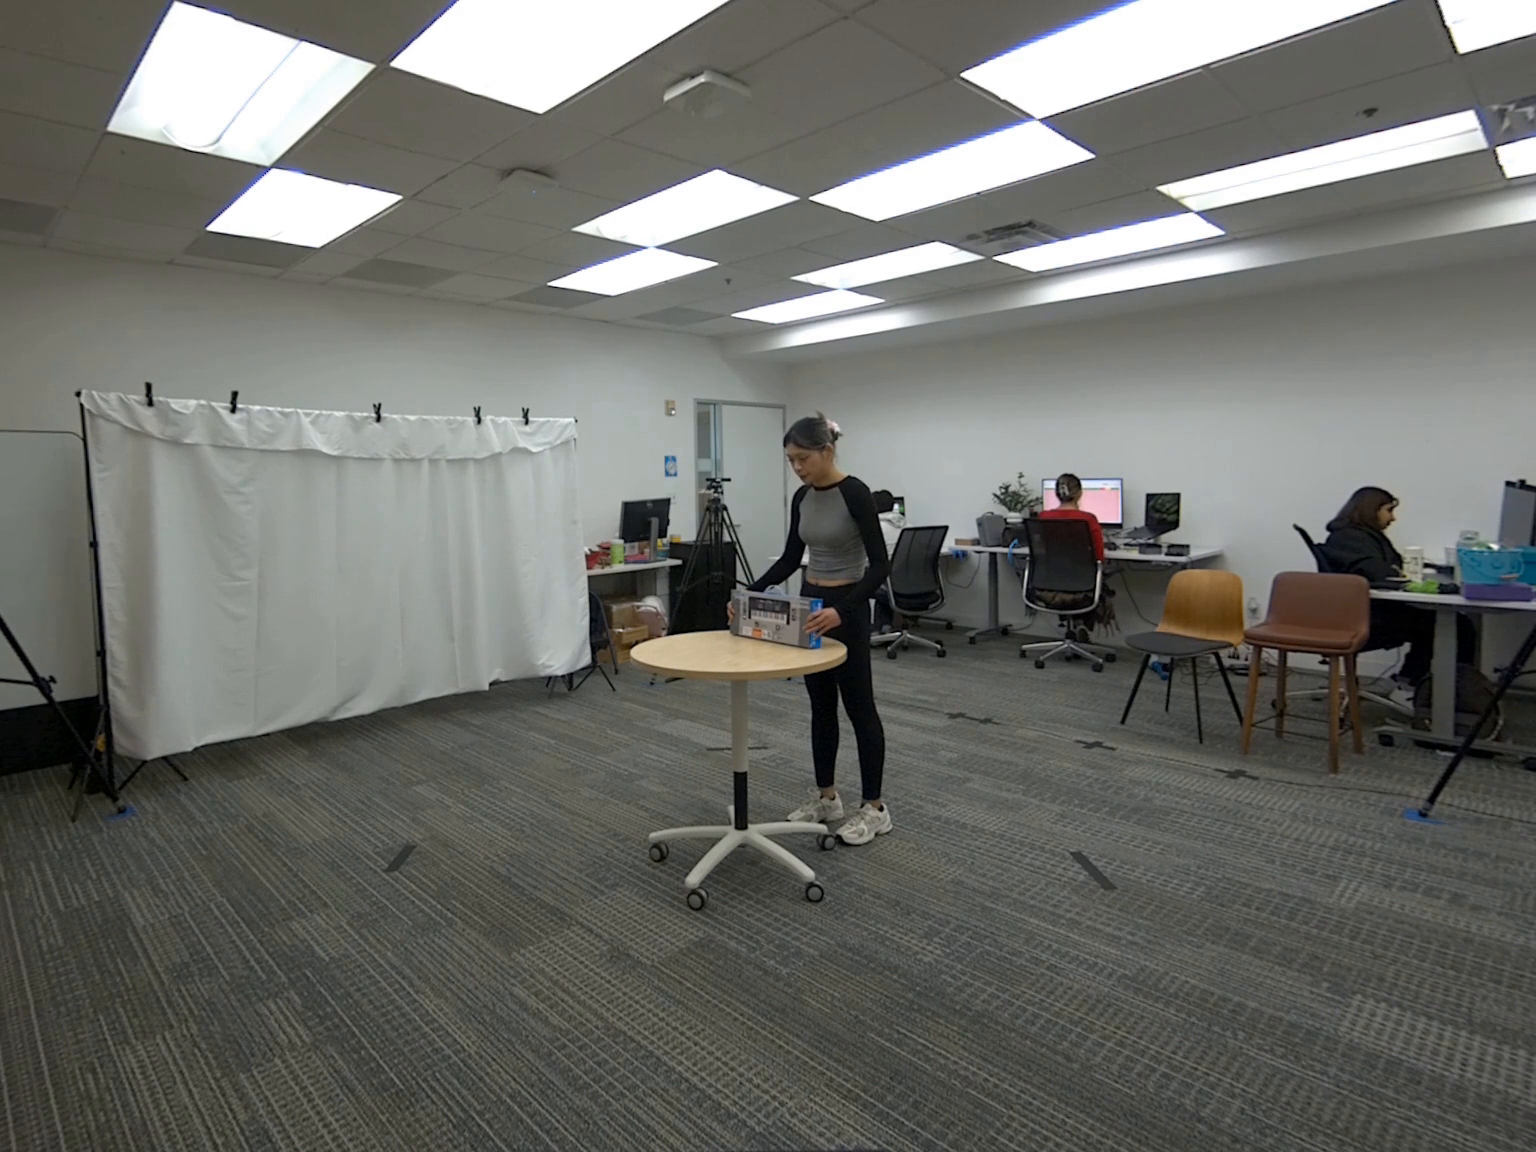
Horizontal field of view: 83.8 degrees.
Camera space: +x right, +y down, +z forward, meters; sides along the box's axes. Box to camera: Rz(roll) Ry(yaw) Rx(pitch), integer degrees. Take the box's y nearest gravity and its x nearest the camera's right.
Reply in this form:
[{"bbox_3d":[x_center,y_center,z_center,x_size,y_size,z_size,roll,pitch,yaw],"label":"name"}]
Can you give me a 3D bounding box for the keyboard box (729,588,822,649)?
[{"bbox_3d":[0.024,0.156,3.163,0.057,0.175,0.450,0,4,-41],"label":"keyboard box"}]
